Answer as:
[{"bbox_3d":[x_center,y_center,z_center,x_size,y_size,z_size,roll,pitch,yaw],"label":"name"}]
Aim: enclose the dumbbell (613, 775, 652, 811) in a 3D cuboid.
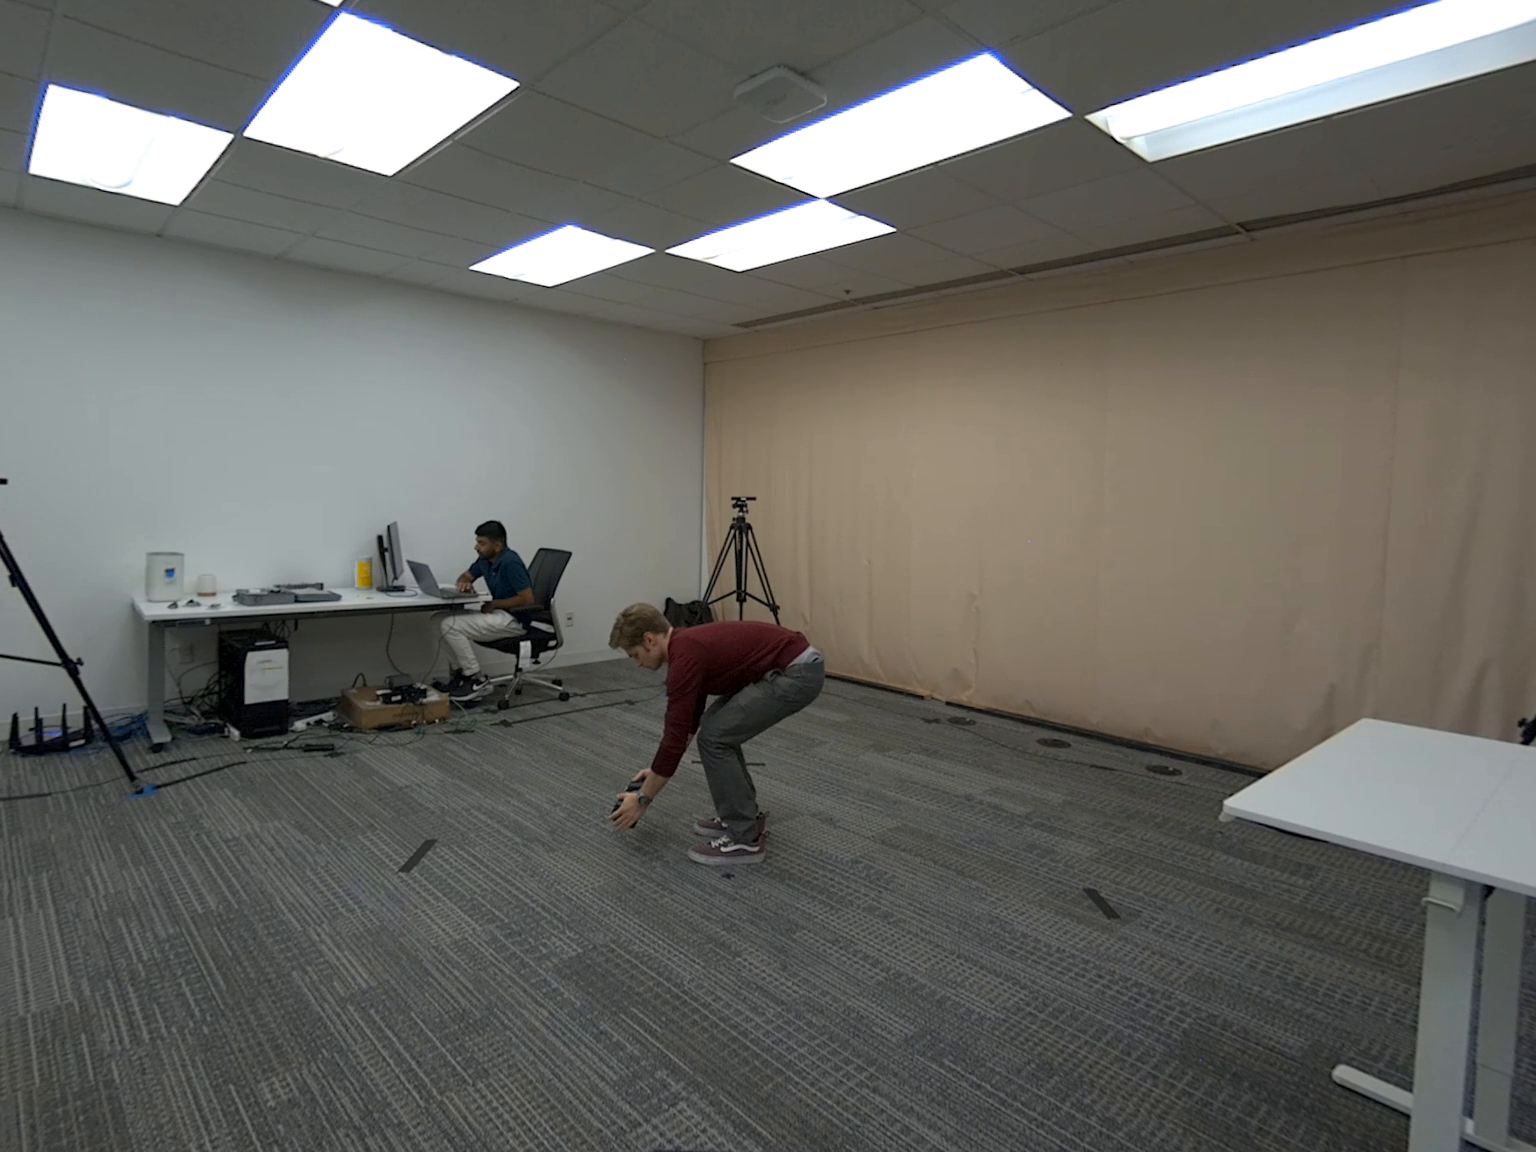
[{"bbox_3d":[-0.542,0.920,3.395,0.123,0.108,0.293,-1,5,5],"label":"dumbbell"}]
